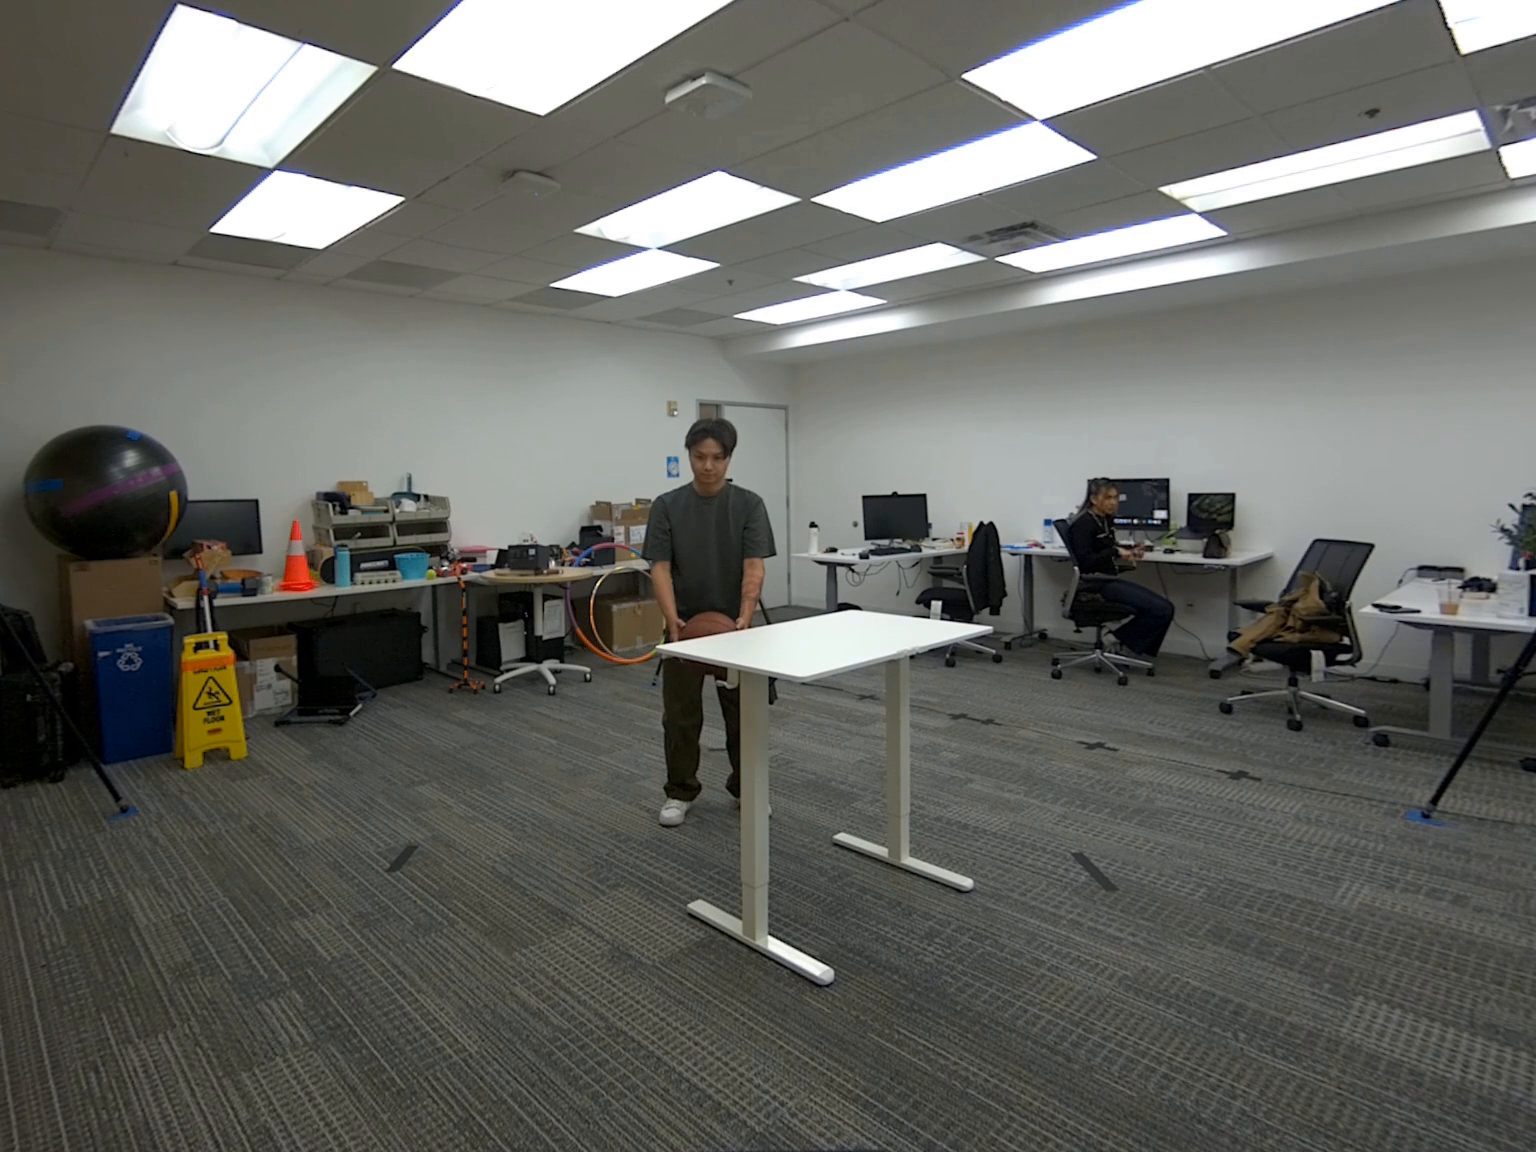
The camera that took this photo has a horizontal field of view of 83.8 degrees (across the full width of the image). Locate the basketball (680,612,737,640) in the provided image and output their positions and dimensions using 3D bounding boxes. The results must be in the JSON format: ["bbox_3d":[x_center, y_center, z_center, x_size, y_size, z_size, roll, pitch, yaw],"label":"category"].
[{"bbox_3d":[-0.221,0.254,3.249,0.236,0.235,0.237,-1,5,-2],"label":"basketball"}]
